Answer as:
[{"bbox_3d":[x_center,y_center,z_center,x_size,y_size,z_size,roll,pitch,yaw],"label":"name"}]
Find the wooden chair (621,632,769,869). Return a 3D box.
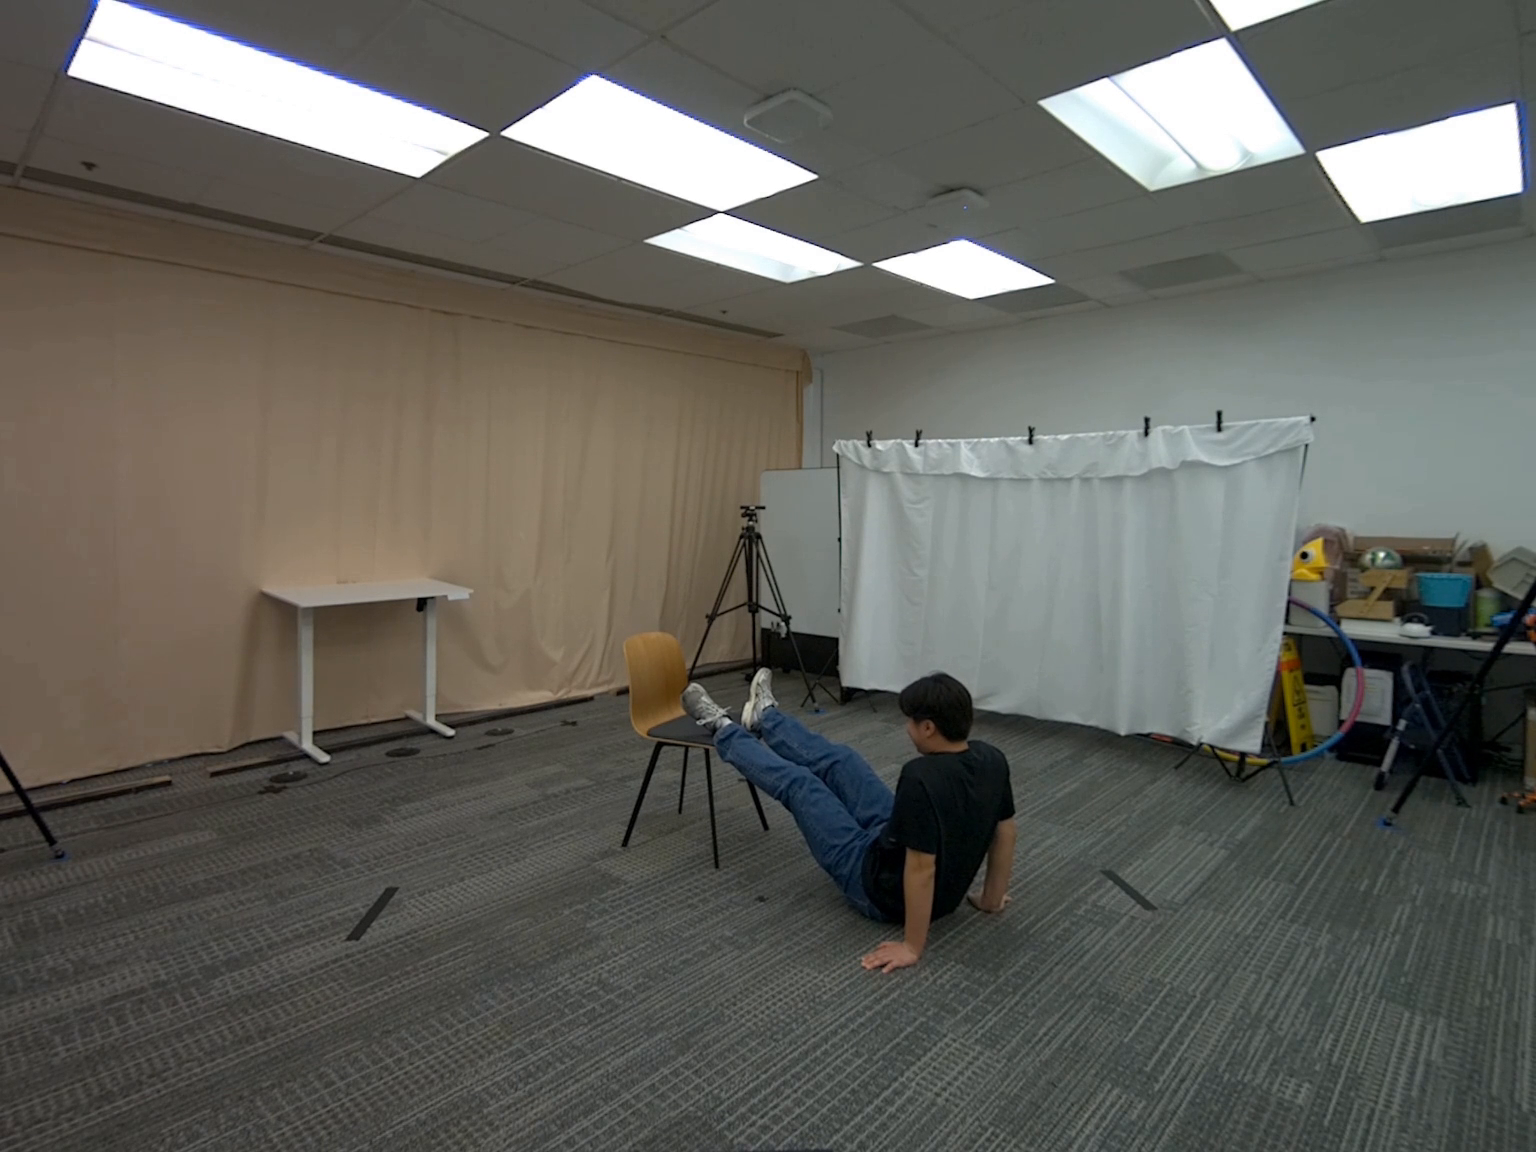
[{"bbox_3d":[-0.296,0.675,3.501,0.537,0.877,0.466,-4,1,28],"label":"wooden chair"}]
